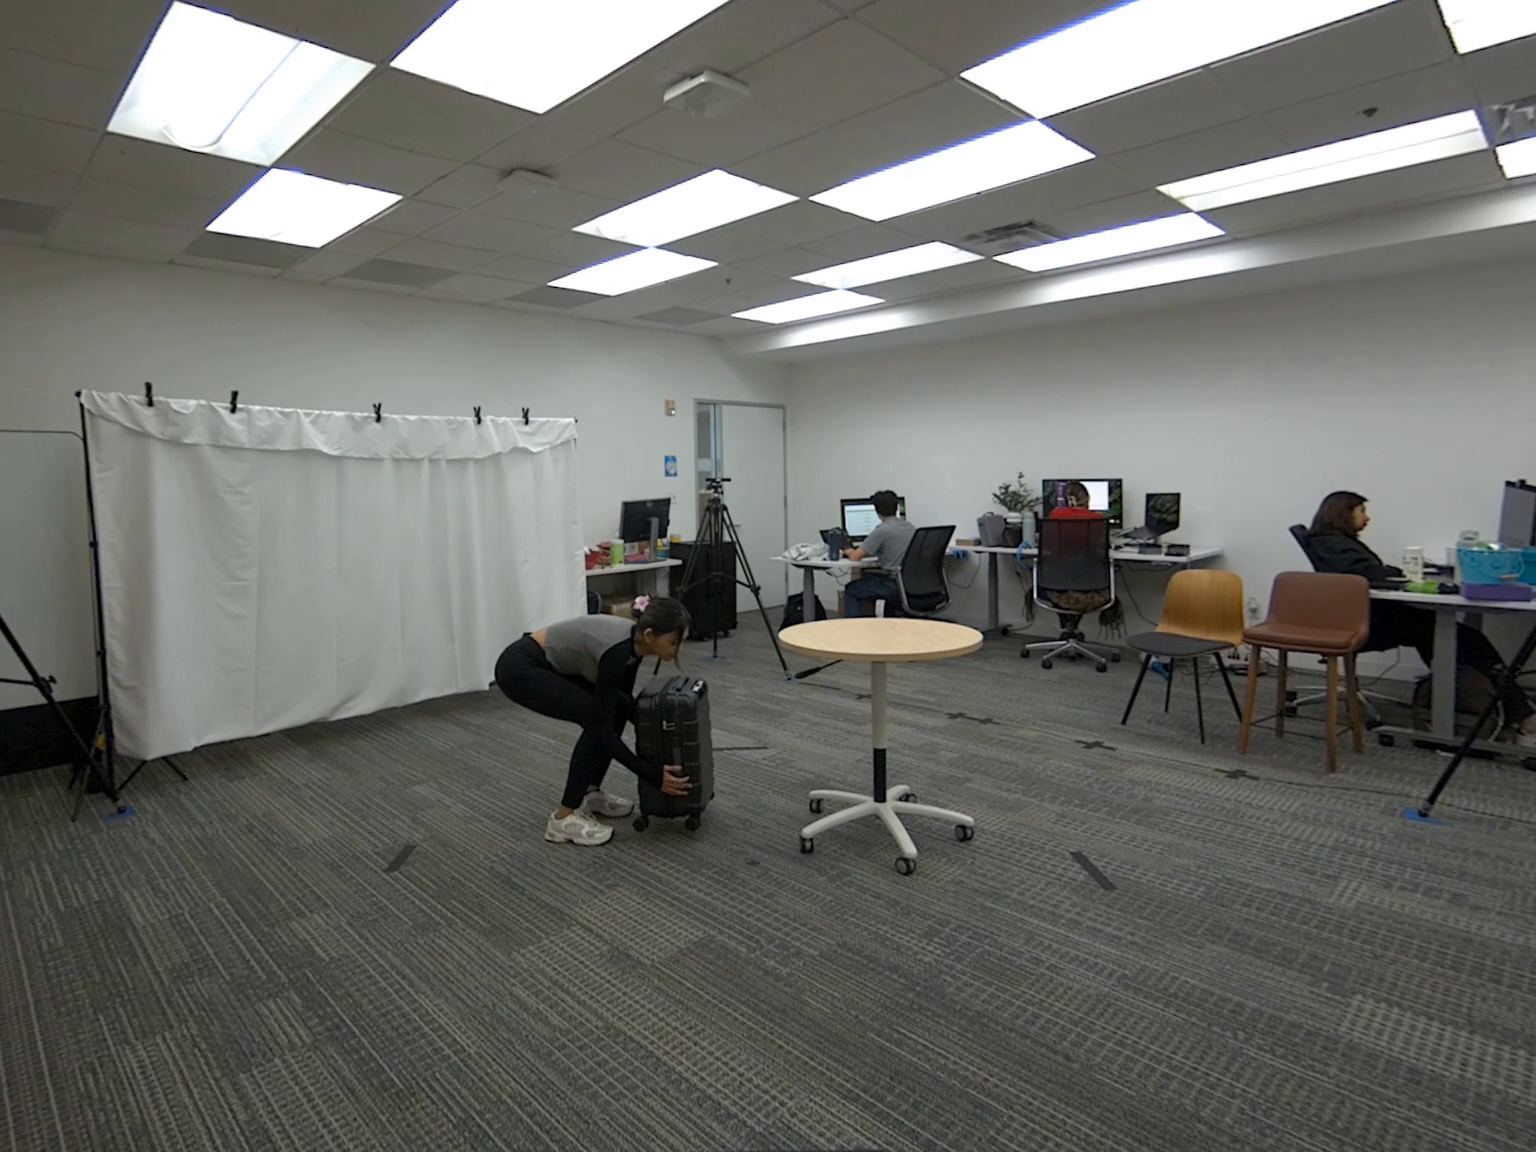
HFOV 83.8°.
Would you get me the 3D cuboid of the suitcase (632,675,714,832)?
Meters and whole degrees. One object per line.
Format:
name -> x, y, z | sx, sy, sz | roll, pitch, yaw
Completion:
suitcase -> -0.379, 0.687, 3.425 | 0.250, 0.547, 0.374 | -4, 5, 7
